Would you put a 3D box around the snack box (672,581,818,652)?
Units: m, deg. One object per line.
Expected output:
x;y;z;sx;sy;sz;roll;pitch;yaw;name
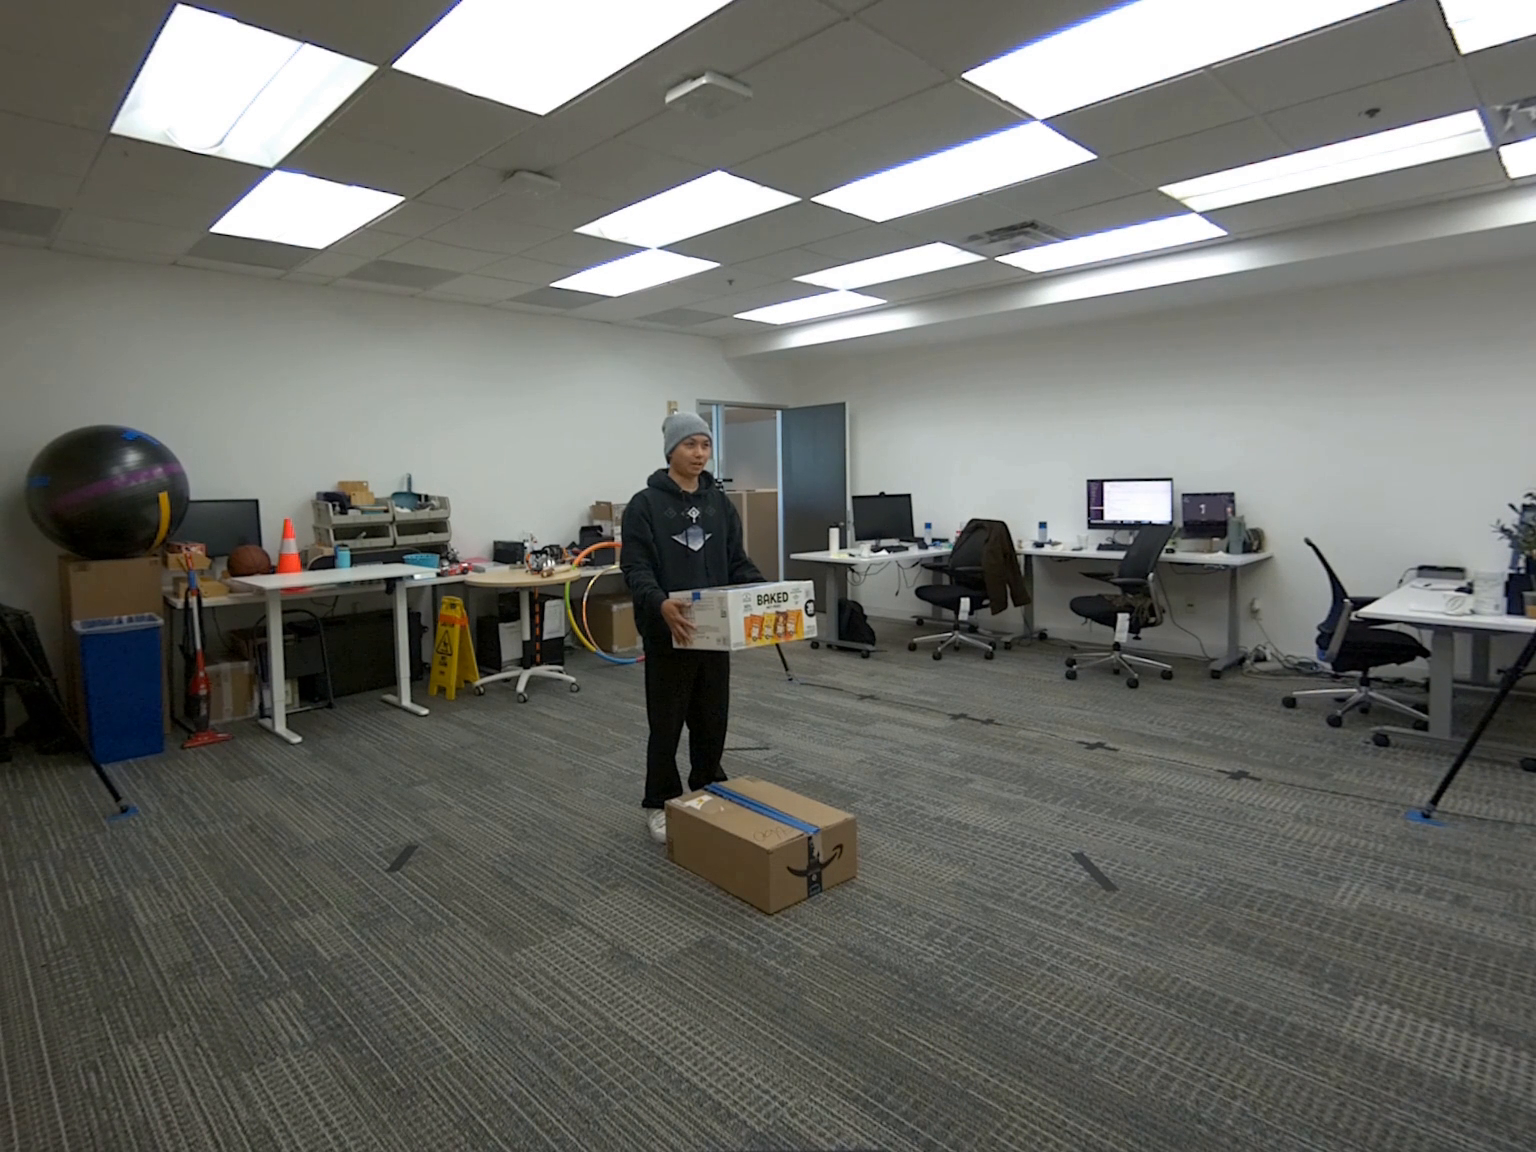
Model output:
-0.088;0.140;3.083;0.394;0.206;0.349;-5;0;-40;snack box
